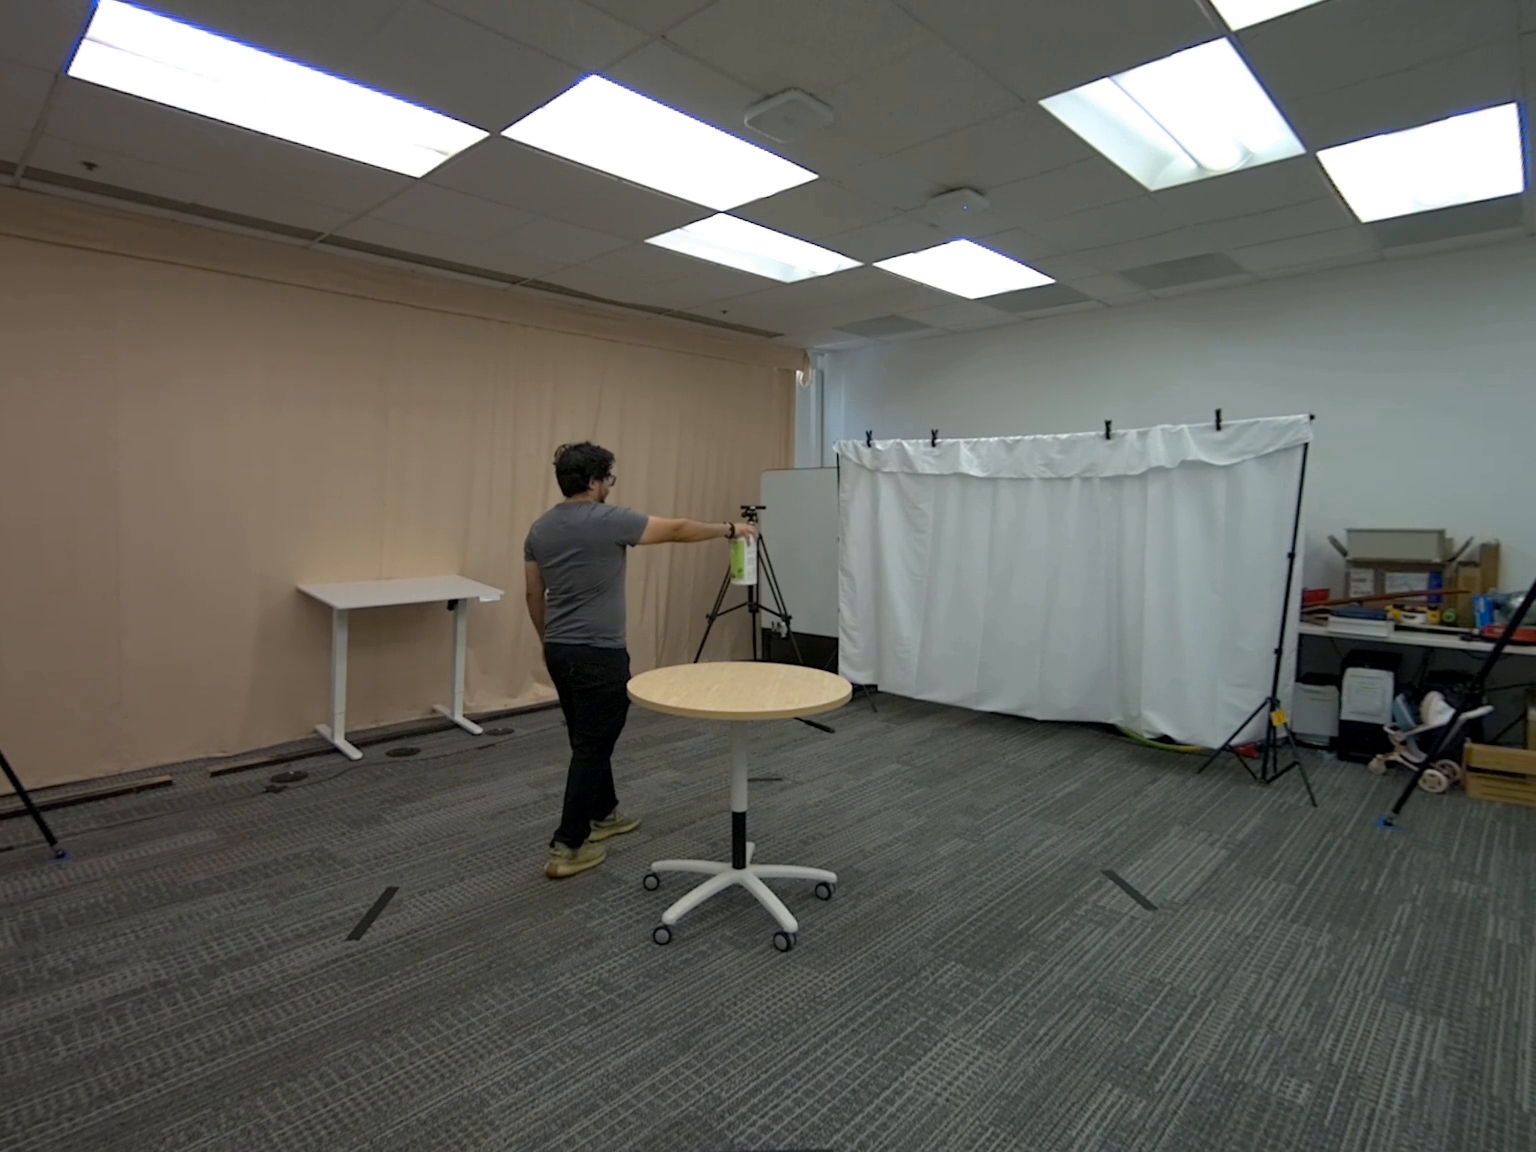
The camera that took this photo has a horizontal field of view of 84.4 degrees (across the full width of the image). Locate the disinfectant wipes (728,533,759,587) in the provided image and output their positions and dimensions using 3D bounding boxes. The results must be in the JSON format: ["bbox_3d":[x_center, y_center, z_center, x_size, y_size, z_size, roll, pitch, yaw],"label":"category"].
[{"bbox_3d":[-0.104,-0.073,3.538,0.118,0.217,0.118,1,2,-2],"label":"disinfectant wipes"}]
